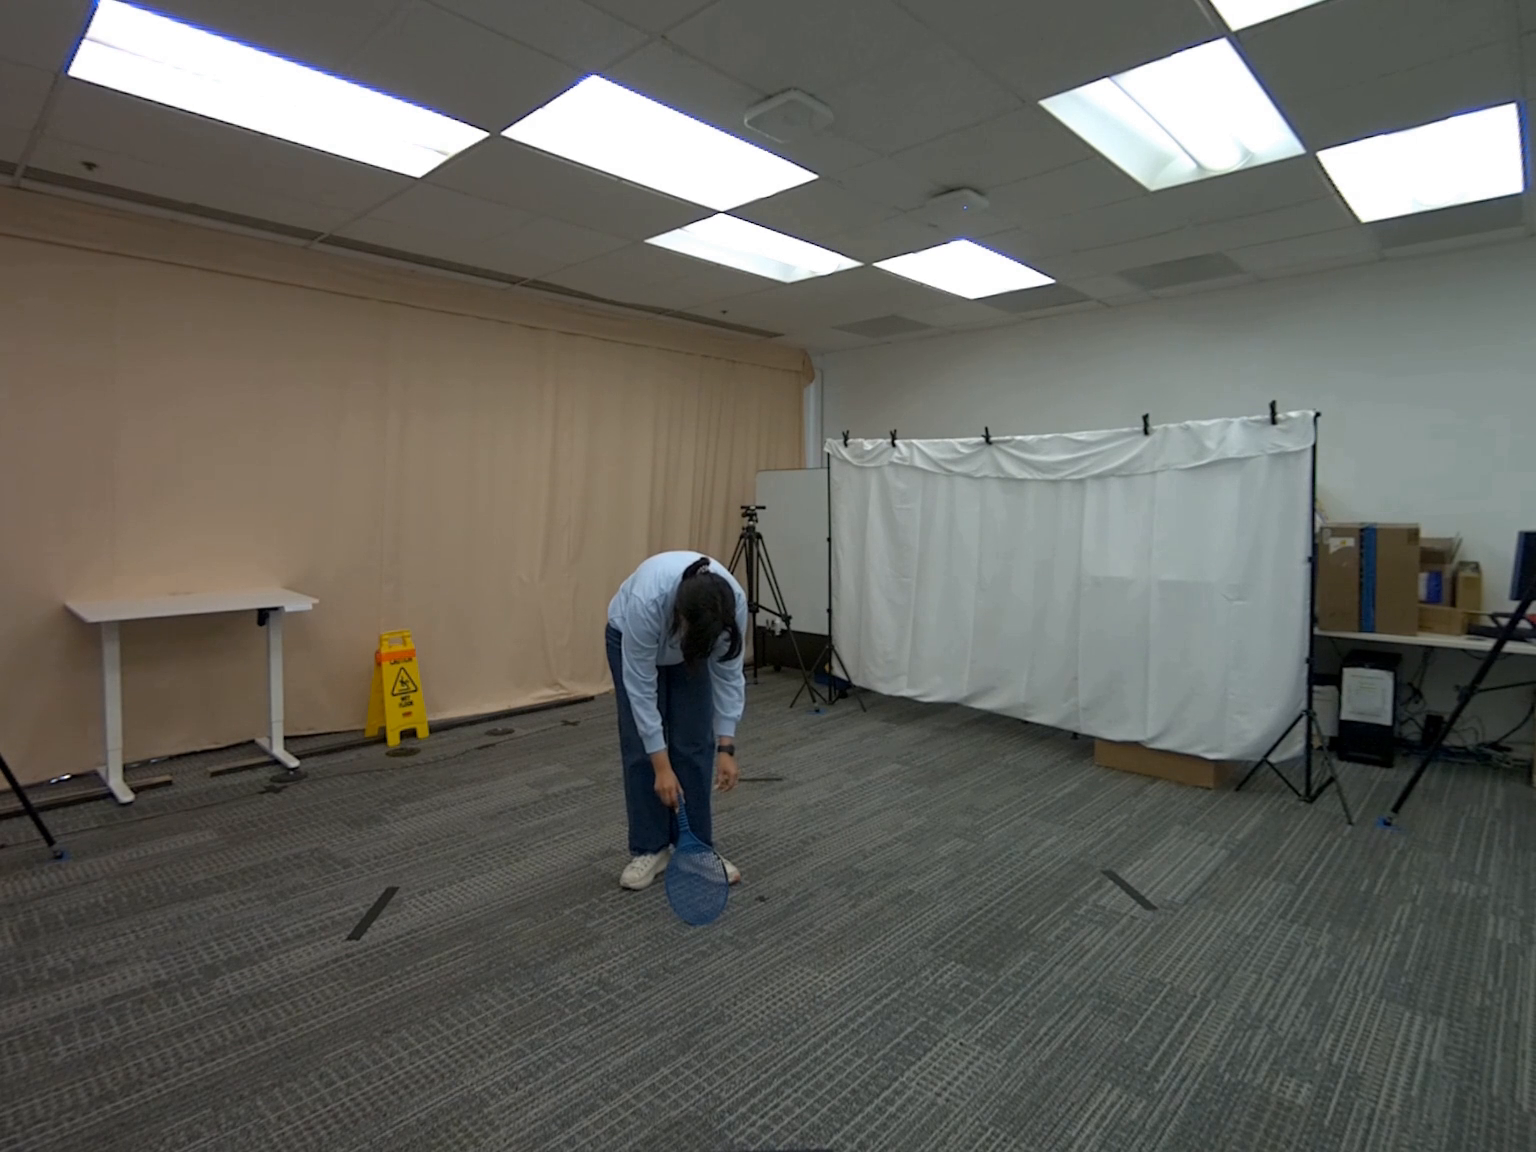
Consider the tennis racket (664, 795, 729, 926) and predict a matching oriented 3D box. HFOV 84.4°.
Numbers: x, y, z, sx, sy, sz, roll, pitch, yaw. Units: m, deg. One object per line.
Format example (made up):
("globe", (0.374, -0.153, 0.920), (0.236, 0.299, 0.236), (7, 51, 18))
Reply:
("tennis racket", (-0.247, 0.949, 2.831), (0.211, 0.434, 0.032), (-8, -4, -10))
